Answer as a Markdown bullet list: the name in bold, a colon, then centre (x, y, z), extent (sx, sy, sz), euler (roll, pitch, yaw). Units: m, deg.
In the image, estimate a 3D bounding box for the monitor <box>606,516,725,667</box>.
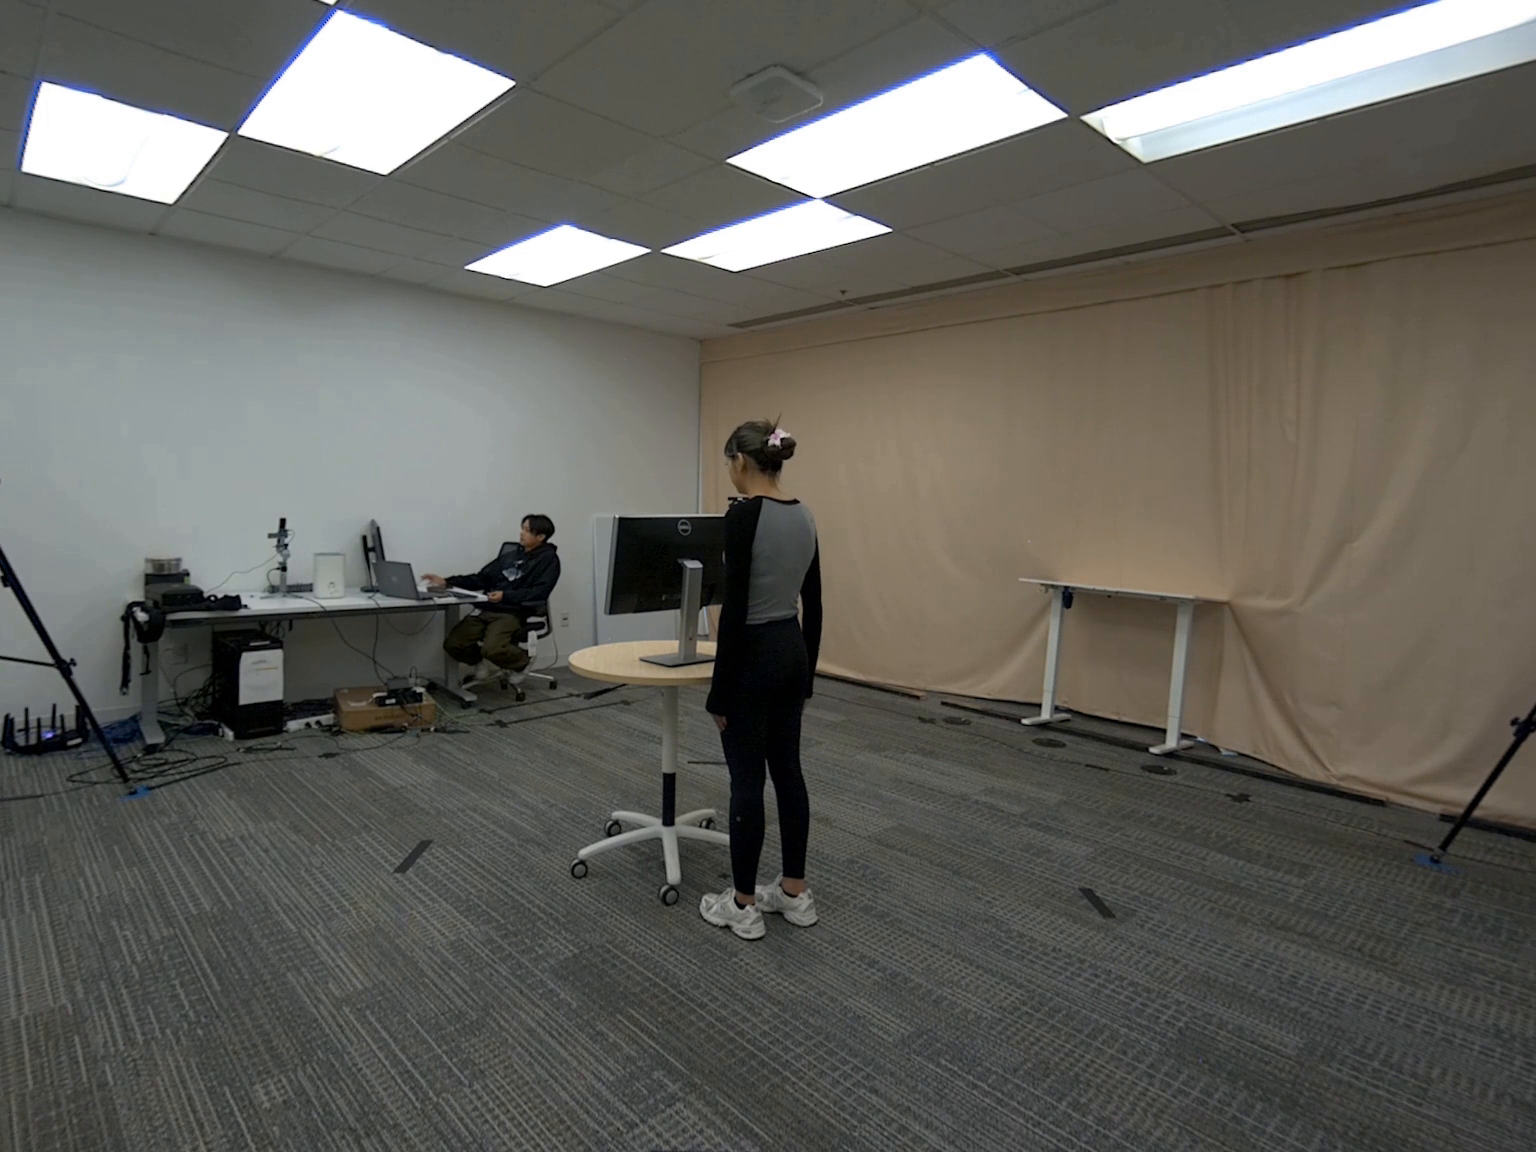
- **monitor**: centre (-0.329, 0.050, 3.108), extent (0.527, 0.522, 0.191), euler (-3, 3, -43)
